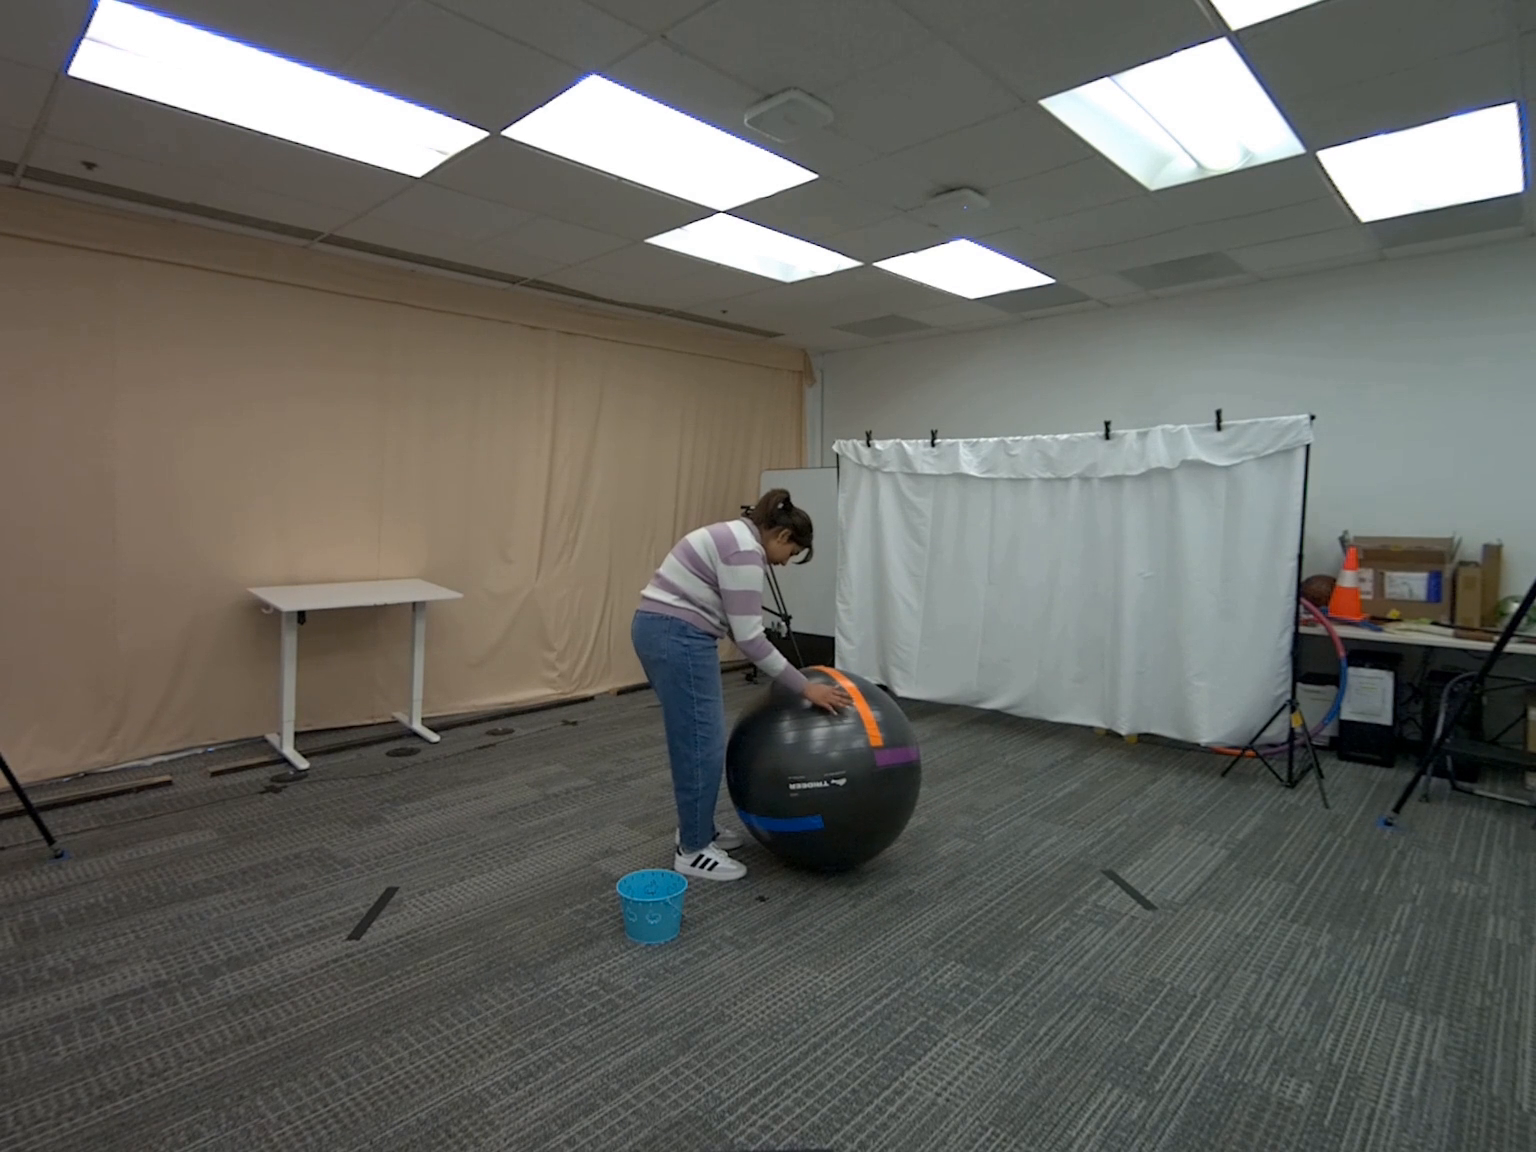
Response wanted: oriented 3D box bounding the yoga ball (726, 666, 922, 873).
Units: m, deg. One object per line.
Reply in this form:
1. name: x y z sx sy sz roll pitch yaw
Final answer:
1. yoga ball: 0.218 0.750 3.296 0.757 0.756 0.760 0 4 -2
